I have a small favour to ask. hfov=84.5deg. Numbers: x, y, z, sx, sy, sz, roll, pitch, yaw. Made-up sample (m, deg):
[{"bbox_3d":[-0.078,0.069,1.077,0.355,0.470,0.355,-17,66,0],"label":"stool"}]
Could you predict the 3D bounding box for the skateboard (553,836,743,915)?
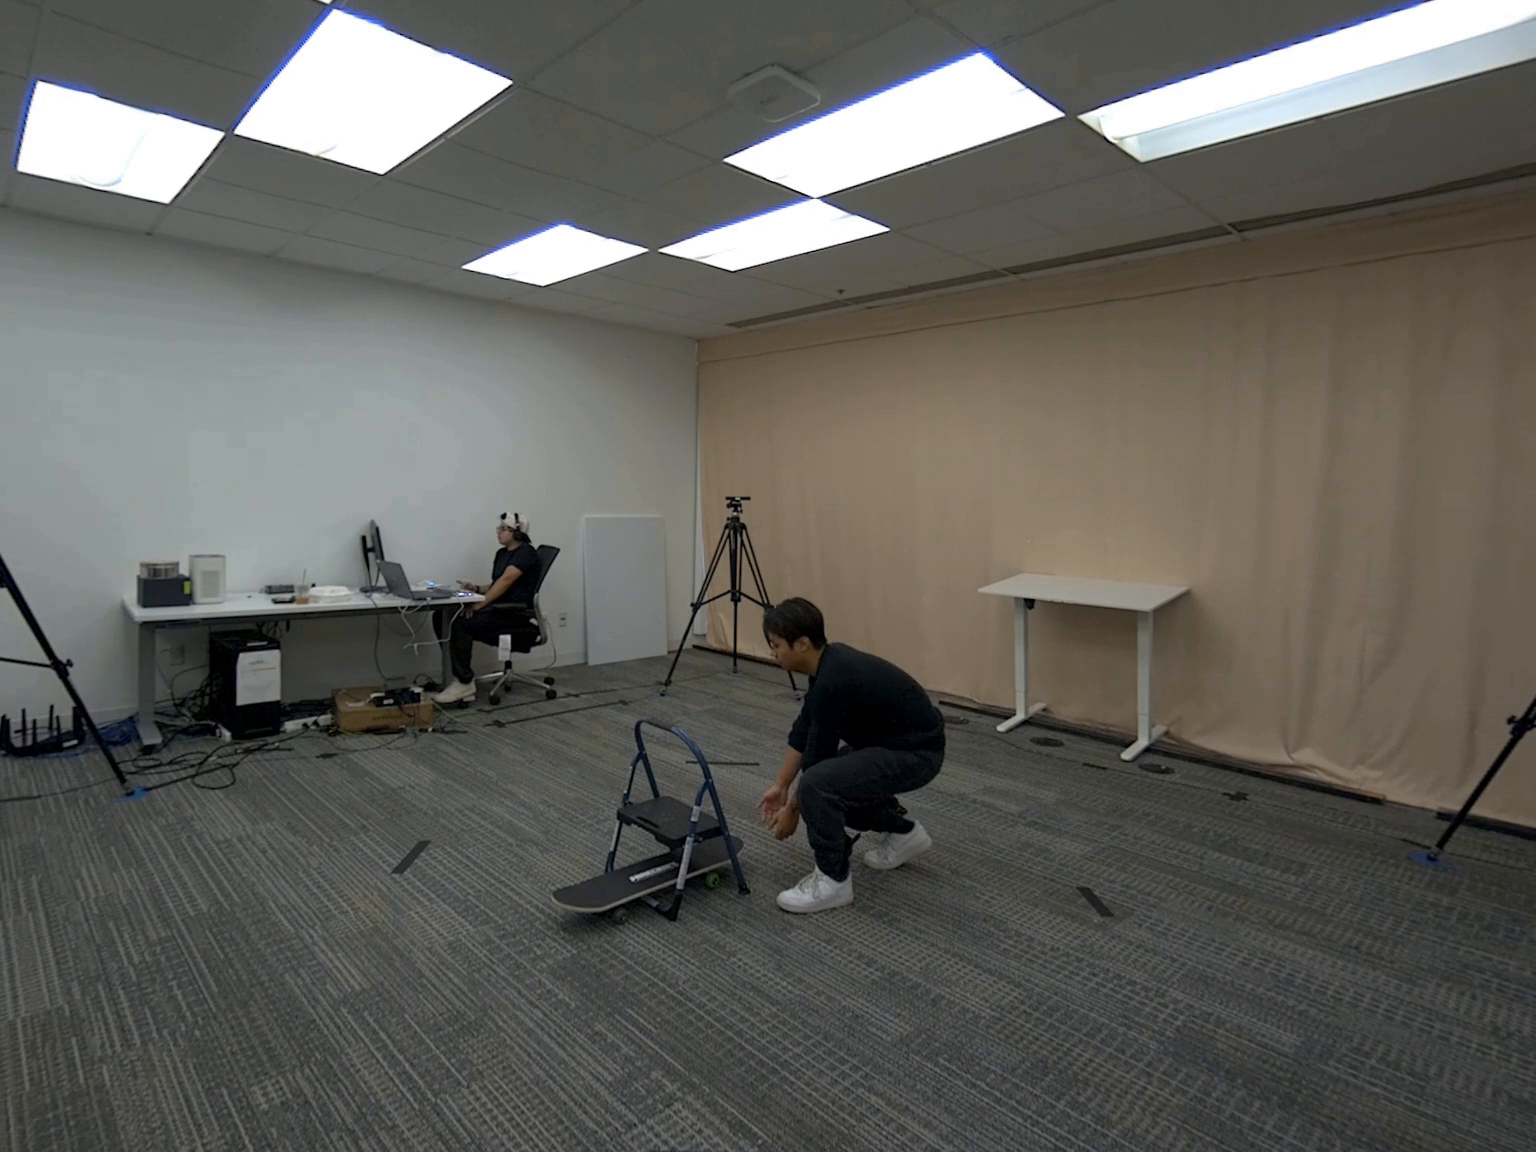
[{"bbox_3d":[-0.392,1.055,2.923,0.767,0.110,0.198,-3,6,-44],"label":"skateboard"}]
